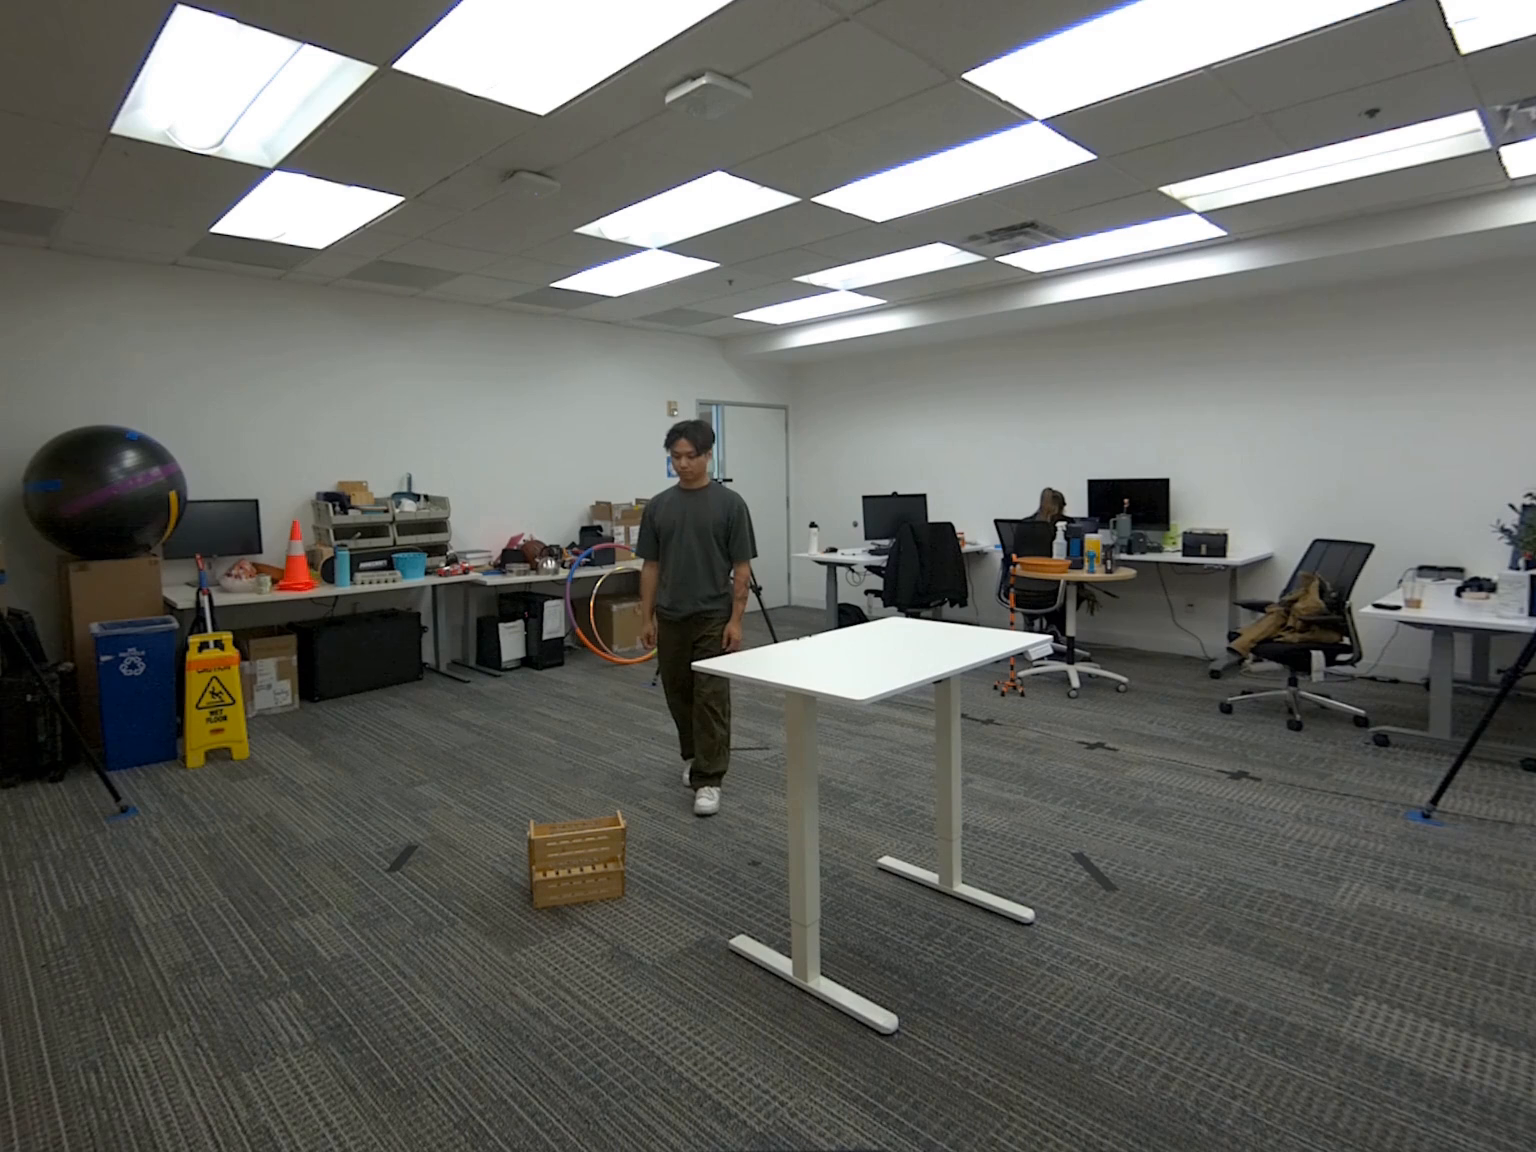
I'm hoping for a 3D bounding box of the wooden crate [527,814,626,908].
[{"bbox_3d":[-0.664,0.947,2.942,0.320,0.272,0.308,-3,6,-15],"label":"wooden crate"}]
